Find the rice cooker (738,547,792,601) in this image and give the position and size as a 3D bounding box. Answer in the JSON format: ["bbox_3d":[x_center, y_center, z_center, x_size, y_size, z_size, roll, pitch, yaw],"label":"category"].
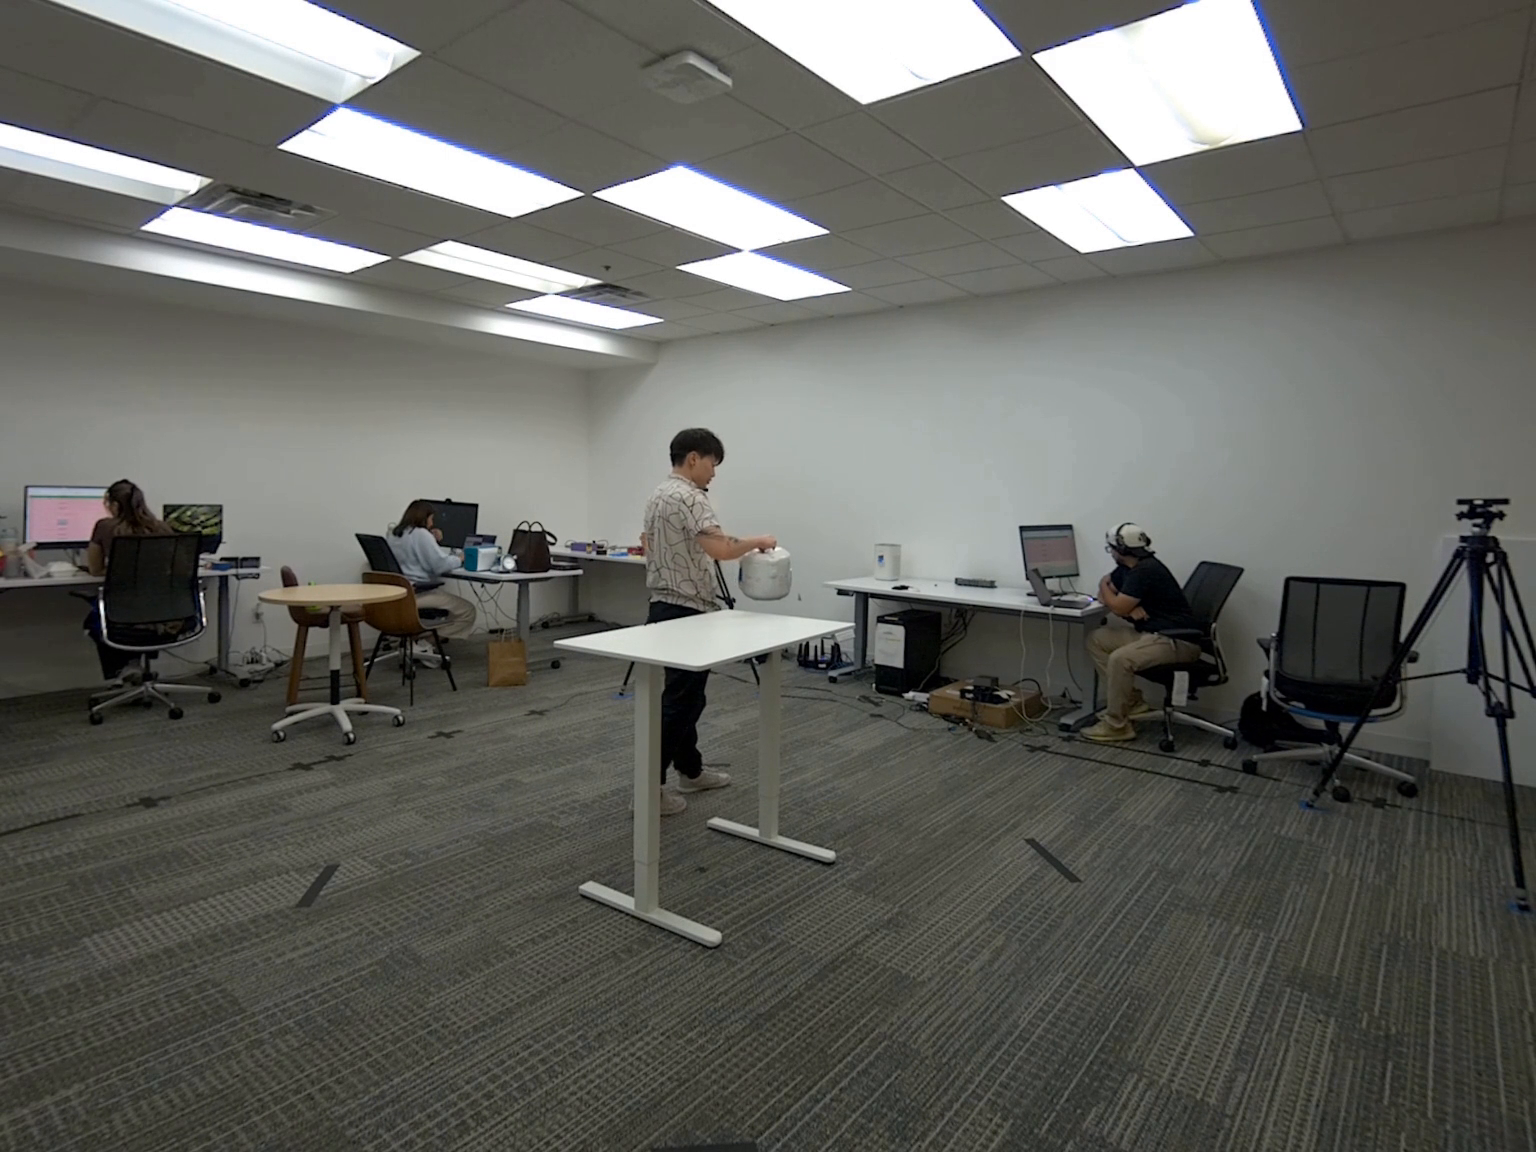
[{"bbox_3d":[-0.019,-0.029,3.687,0.214,0.230,0.226,-2,14,-14],"label":"rice cooker"}]
